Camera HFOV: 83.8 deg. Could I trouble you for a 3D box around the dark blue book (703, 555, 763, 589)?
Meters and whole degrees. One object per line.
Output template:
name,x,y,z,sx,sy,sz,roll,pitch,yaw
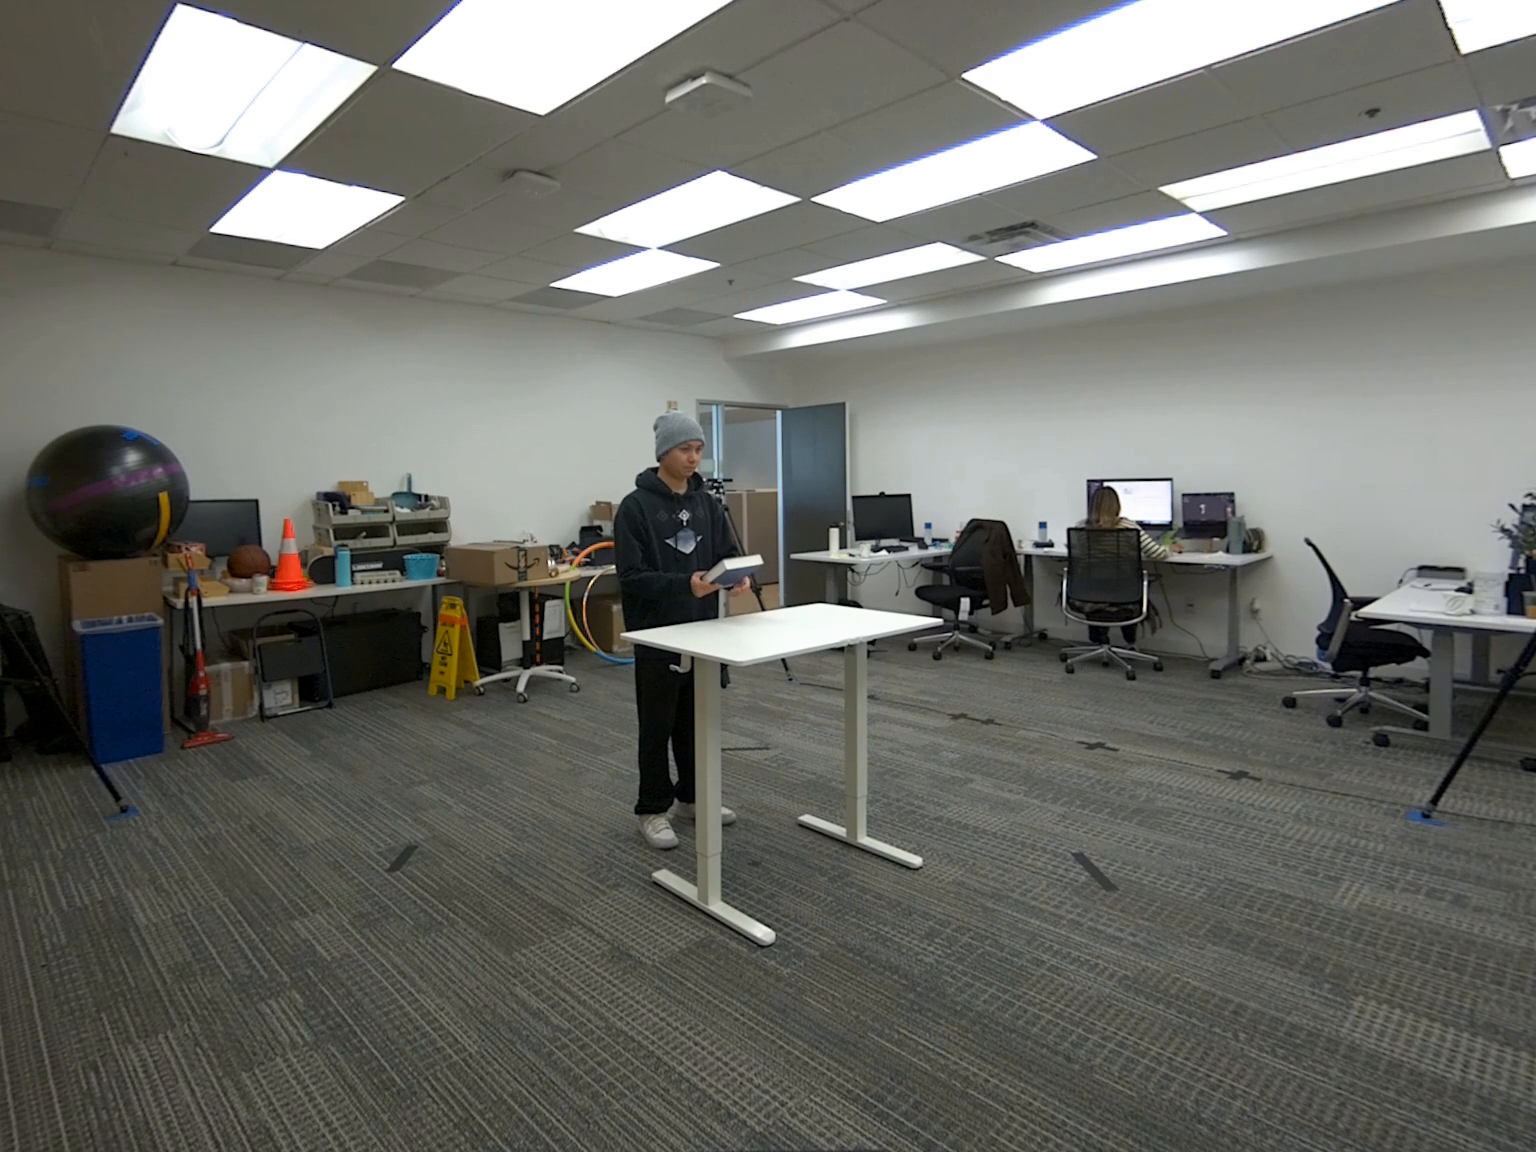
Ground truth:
dark blue book,-0.144,-0.012,3.081,0.160,0.046,0.247,-10,-13,-33
